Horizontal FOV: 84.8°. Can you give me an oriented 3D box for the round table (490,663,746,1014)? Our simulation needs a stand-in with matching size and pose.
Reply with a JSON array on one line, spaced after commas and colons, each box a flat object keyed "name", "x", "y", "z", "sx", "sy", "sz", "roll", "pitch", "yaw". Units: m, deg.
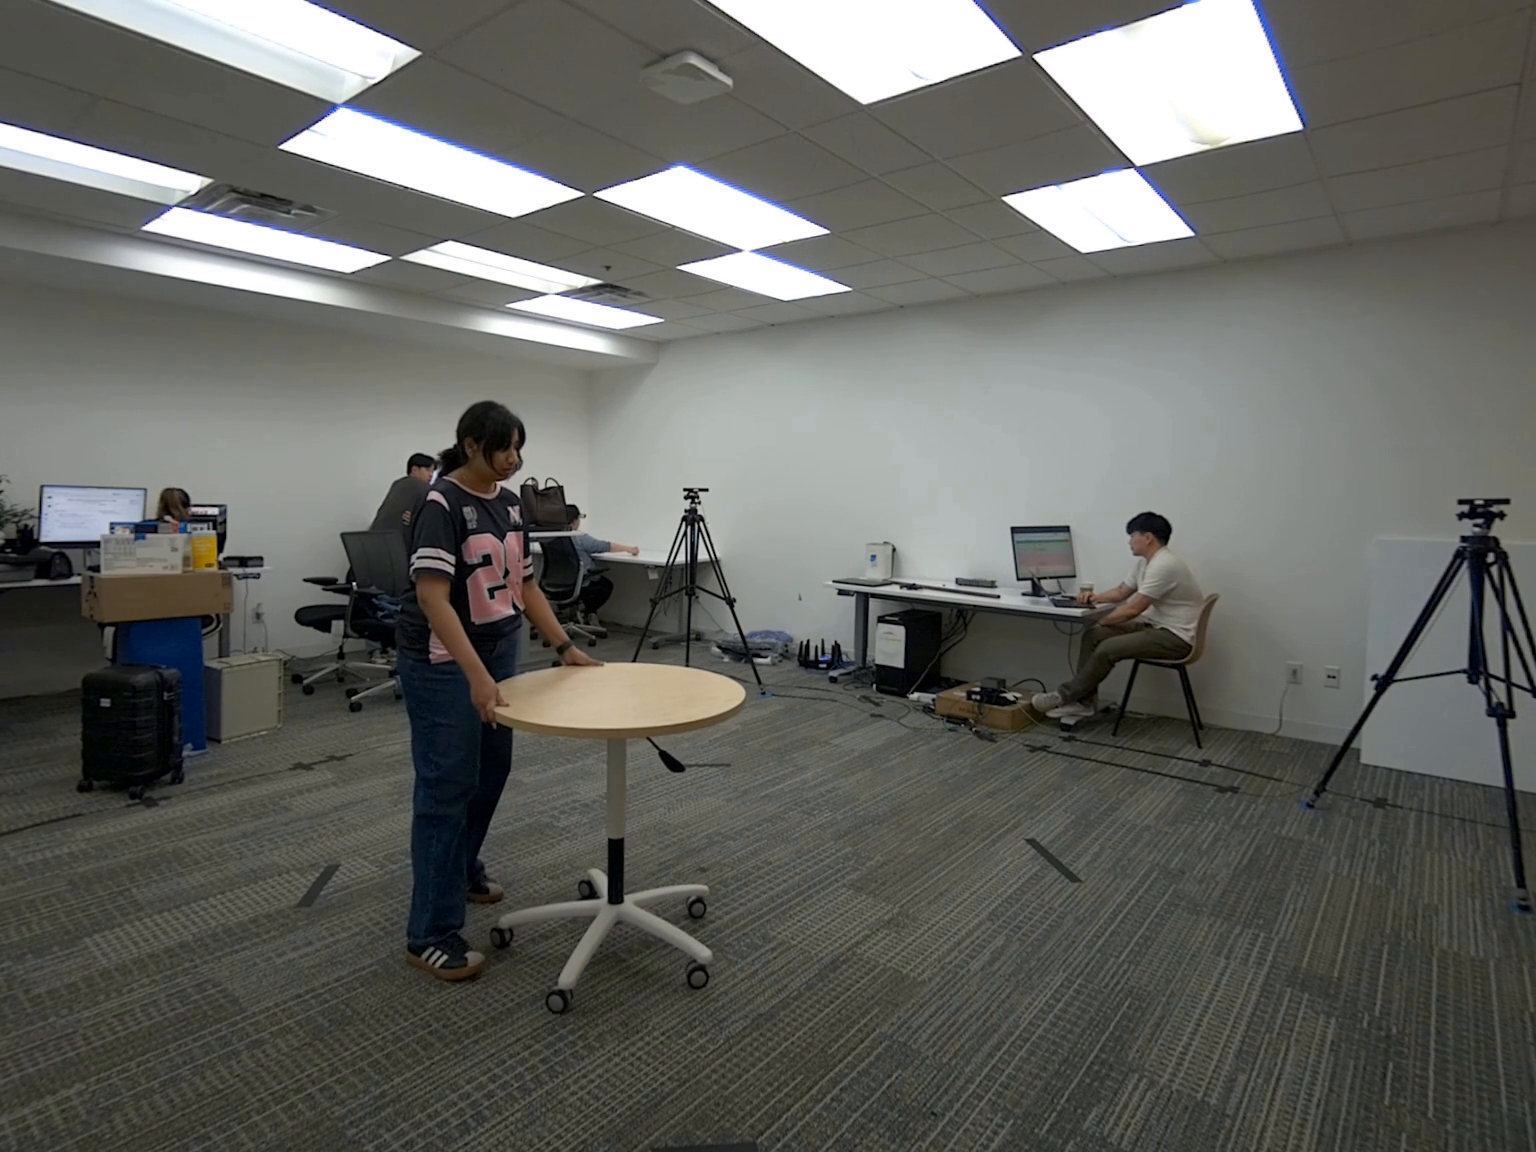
[{"name": "round table", "x": -0.466, "y": 0.728, "z": 2.560, "sx": 0.784, "sy": 0.783, "sz": 0.790, "roll": 0, "pitch": 5, "yaw": -2}]
